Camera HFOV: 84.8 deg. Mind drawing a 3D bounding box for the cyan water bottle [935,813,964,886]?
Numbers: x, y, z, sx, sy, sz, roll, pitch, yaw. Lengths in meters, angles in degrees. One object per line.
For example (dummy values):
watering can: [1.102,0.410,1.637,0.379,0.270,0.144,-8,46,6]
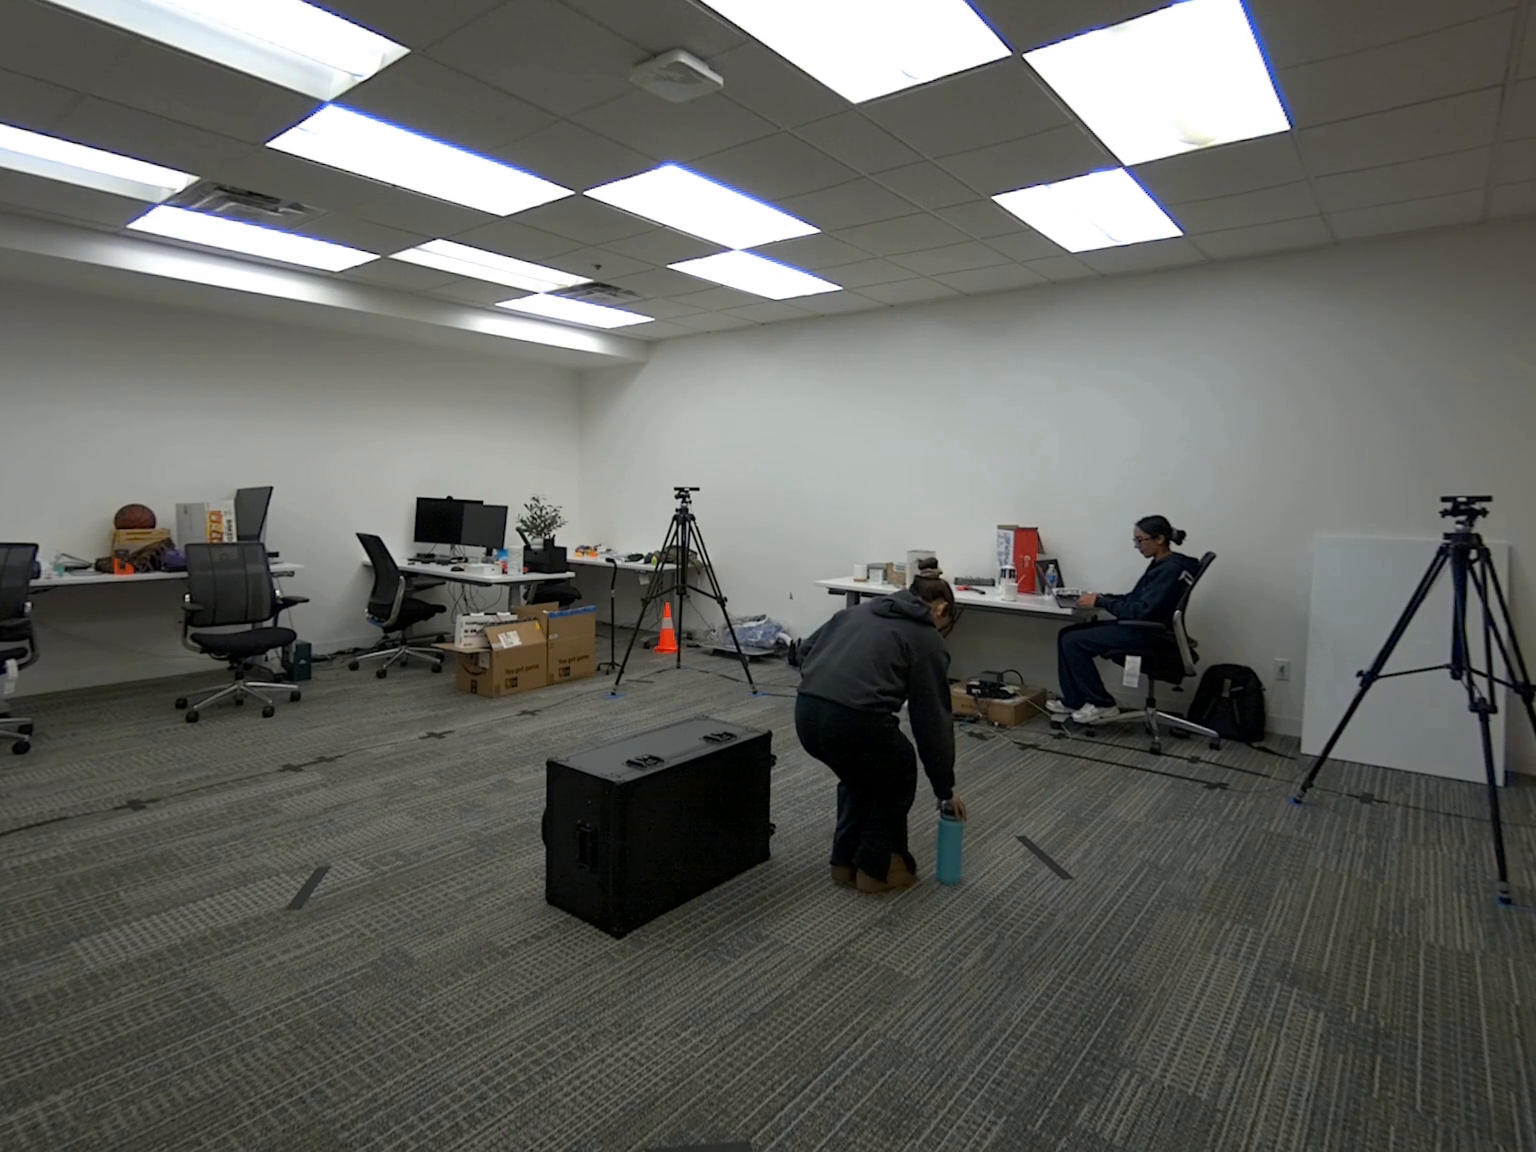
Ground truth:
cyan water bottle: [0.661,0.950,3.061,0.092,0.282,0.093,1,4,-2]
